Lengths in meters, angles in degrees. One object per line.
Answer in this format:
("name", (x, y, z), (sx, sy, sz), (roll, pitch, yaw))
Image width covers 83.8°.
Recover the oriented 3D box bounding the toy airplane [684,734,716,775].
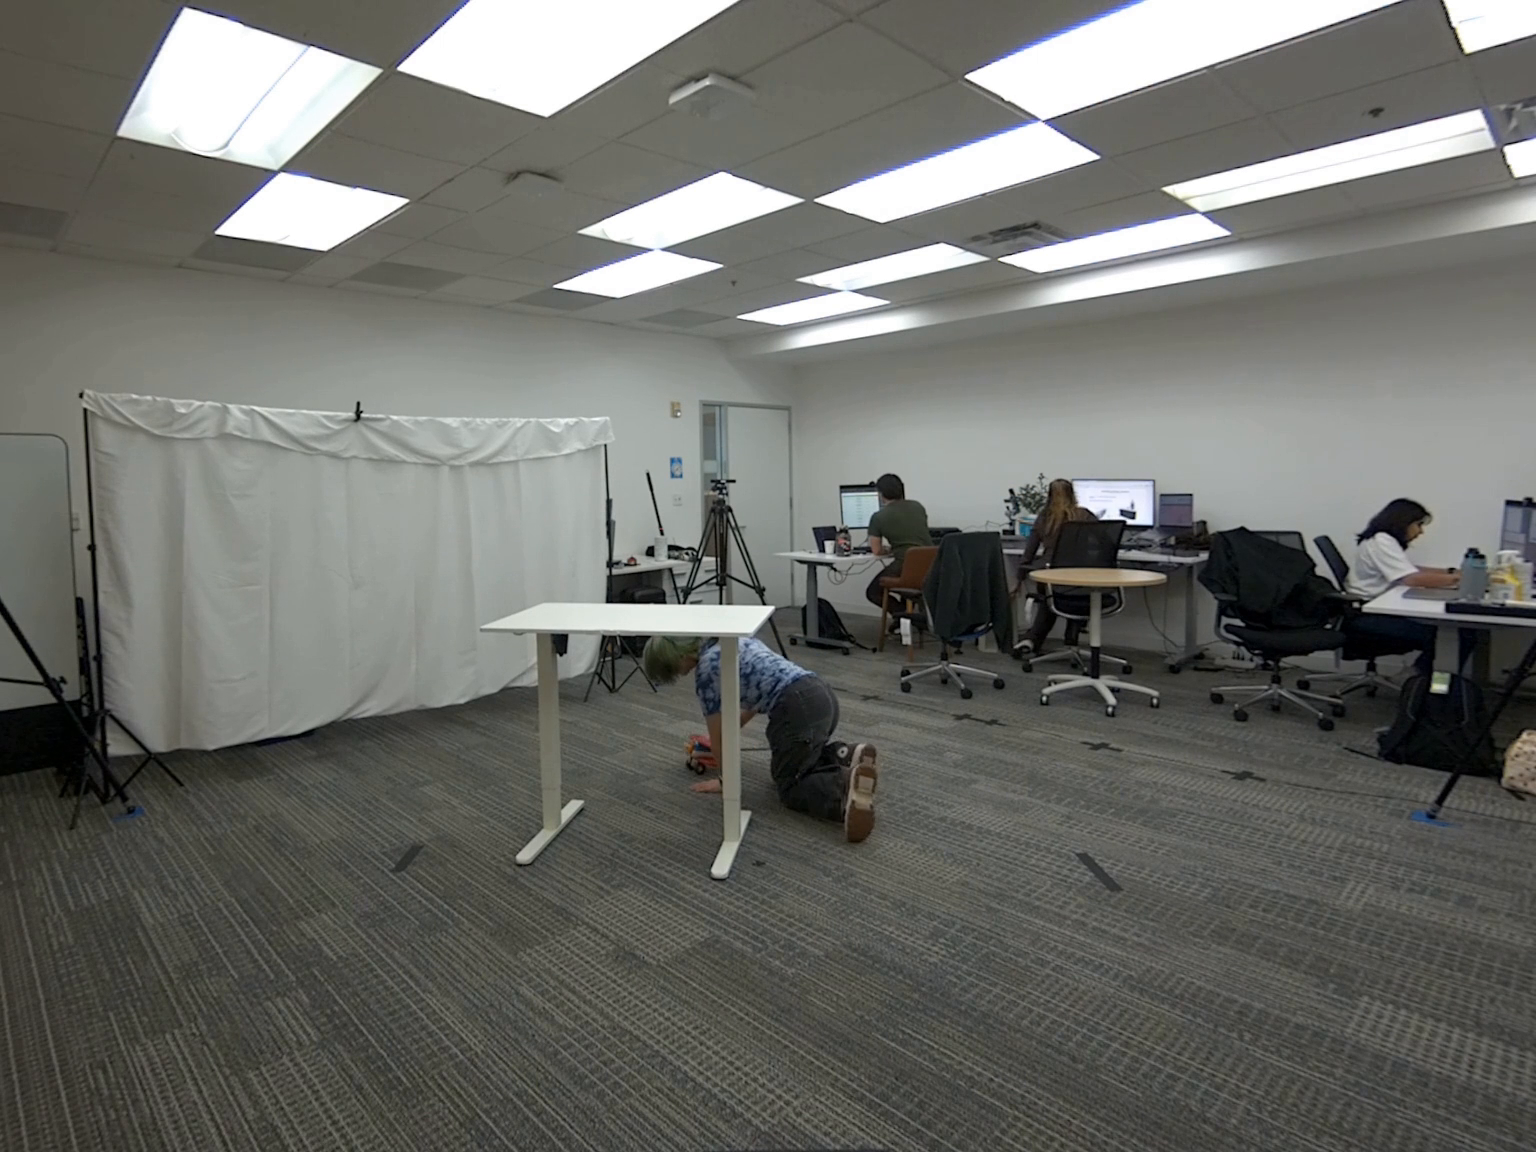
("toy airplane", (-0.290, 0.862, 4.179), (0.258, 0.156, 0.253), (1, 6, 34))
